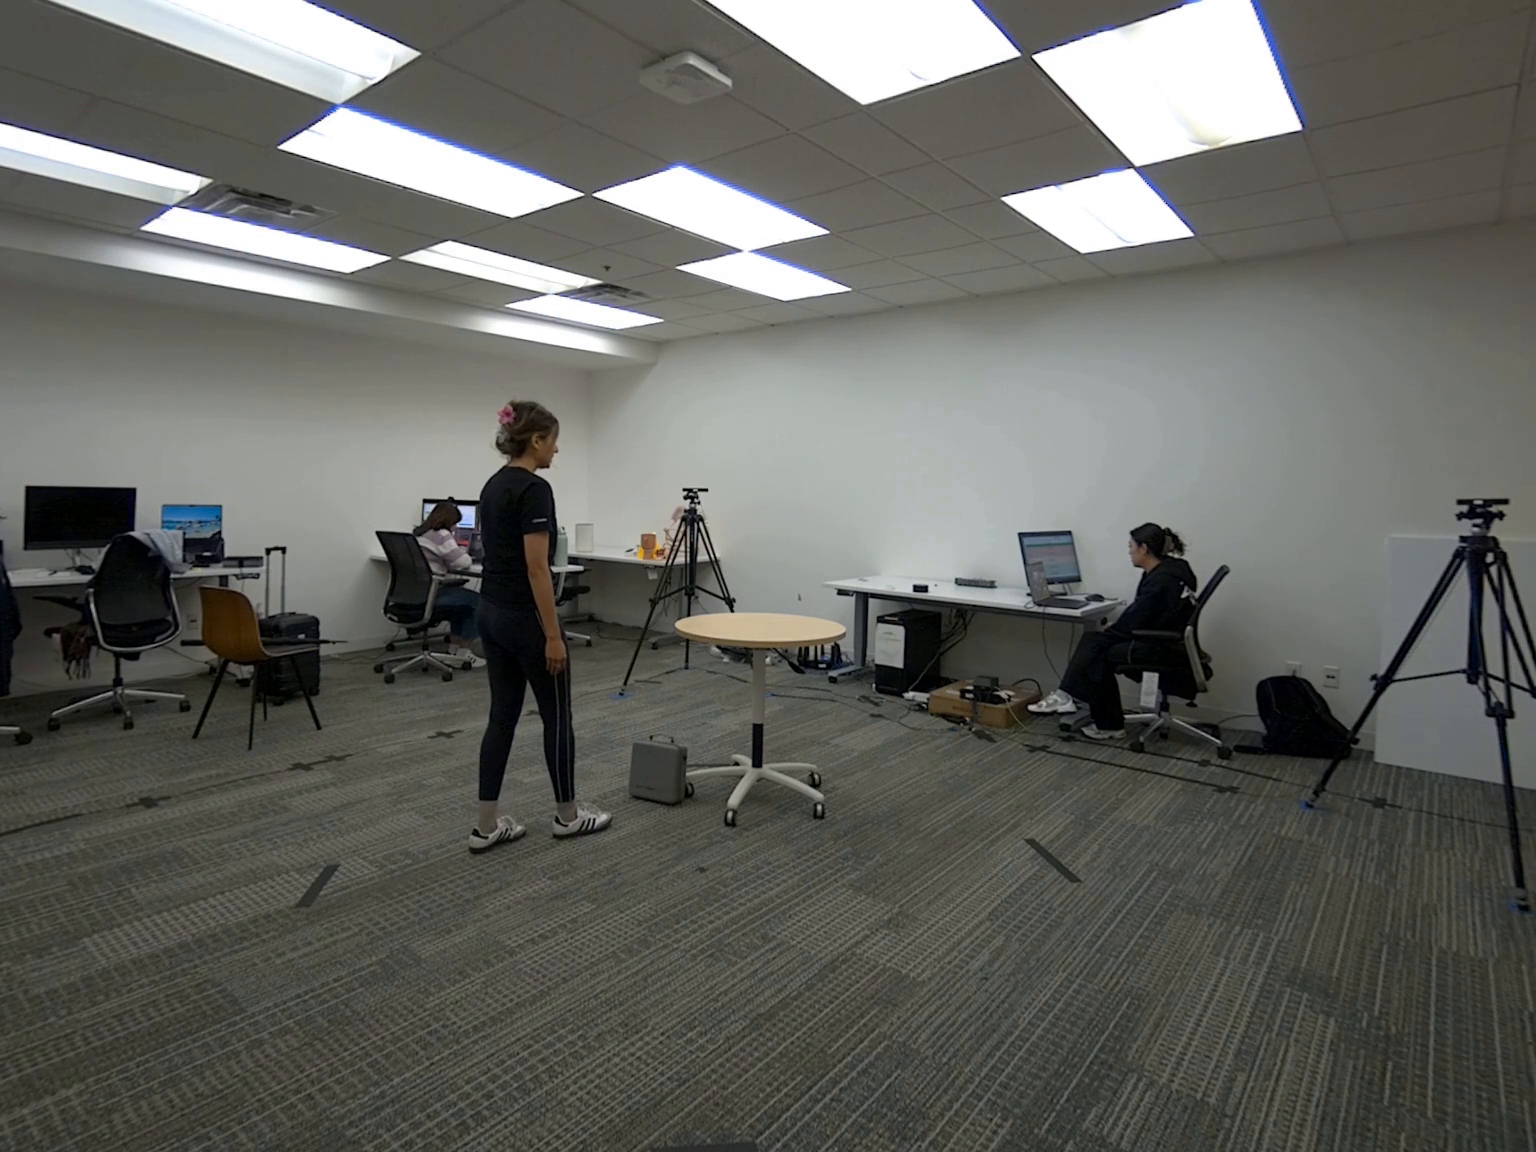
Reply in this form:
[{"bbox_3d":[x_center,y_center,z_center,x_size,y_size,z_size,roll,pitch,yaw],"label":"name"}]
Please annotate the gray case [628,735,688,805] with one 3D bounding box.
[{"bbox_3d":[-0.508,0.862,3.817,0.264,0.261,0.101,3,-3,29],"label":"gray case"}]
